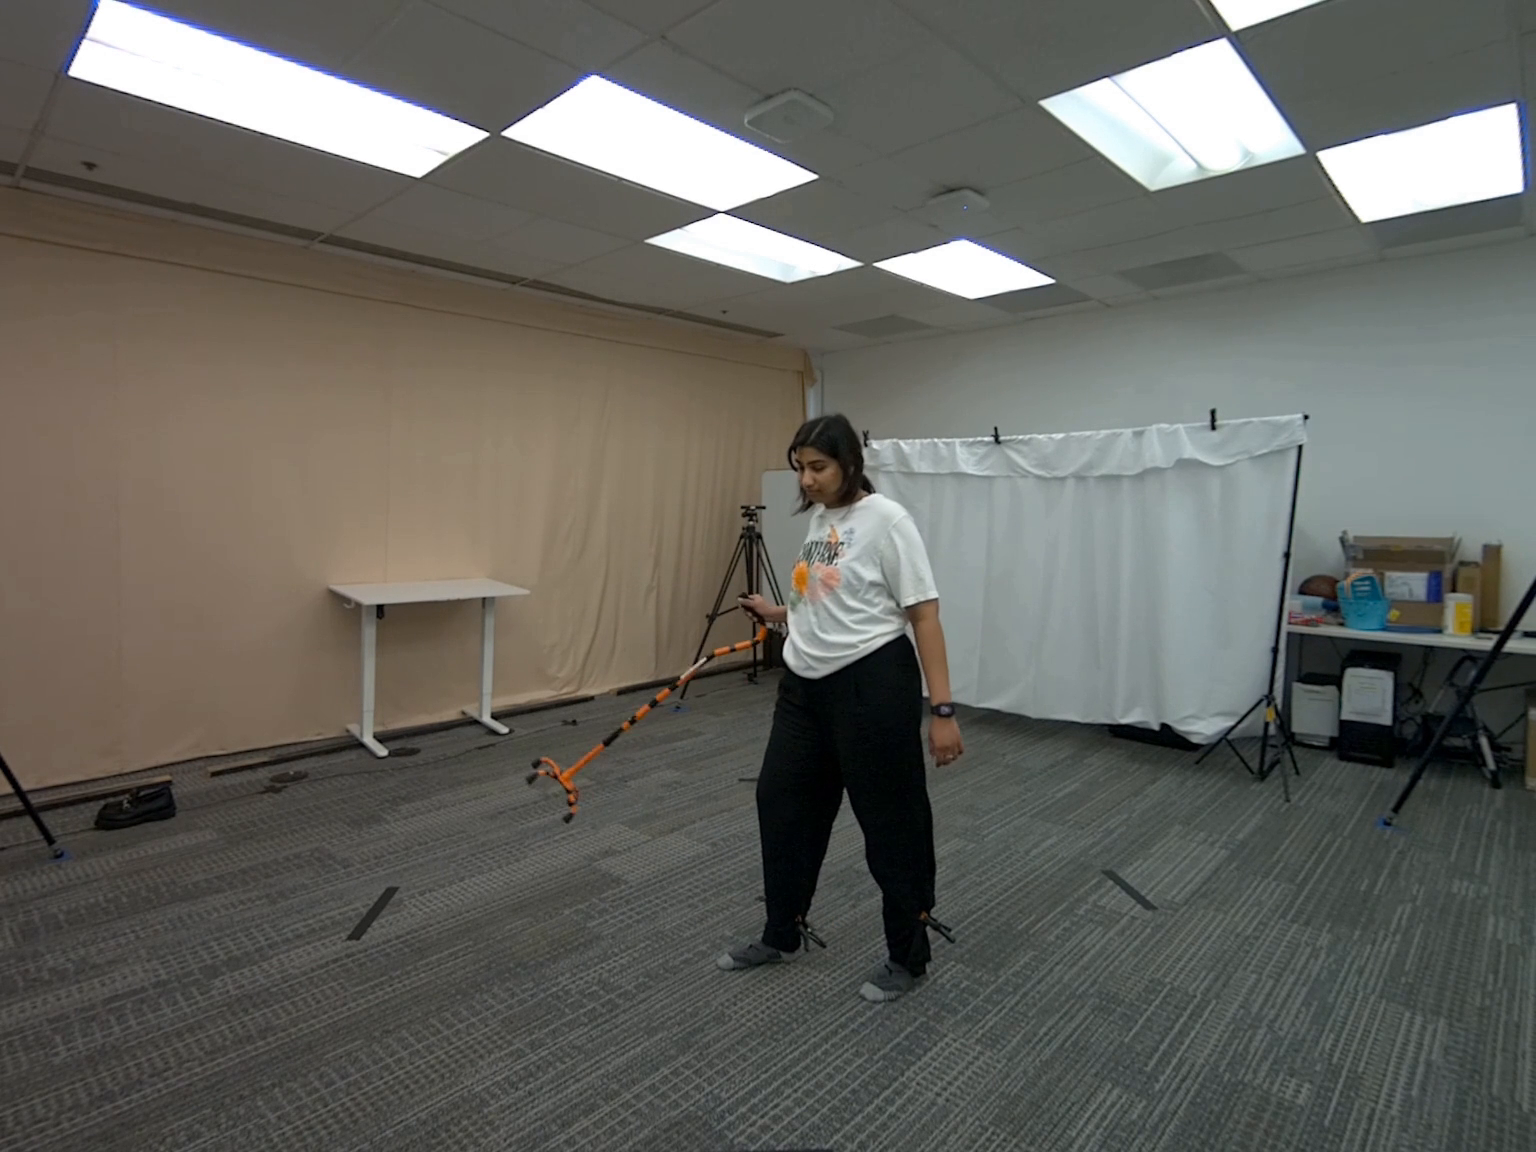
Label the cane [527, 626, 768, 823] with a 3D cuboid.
[{"bbox_3d":[-0.358,0.426,2.736,0.908,0.204,0.153,-41,11,2],"label":"cane"}]
